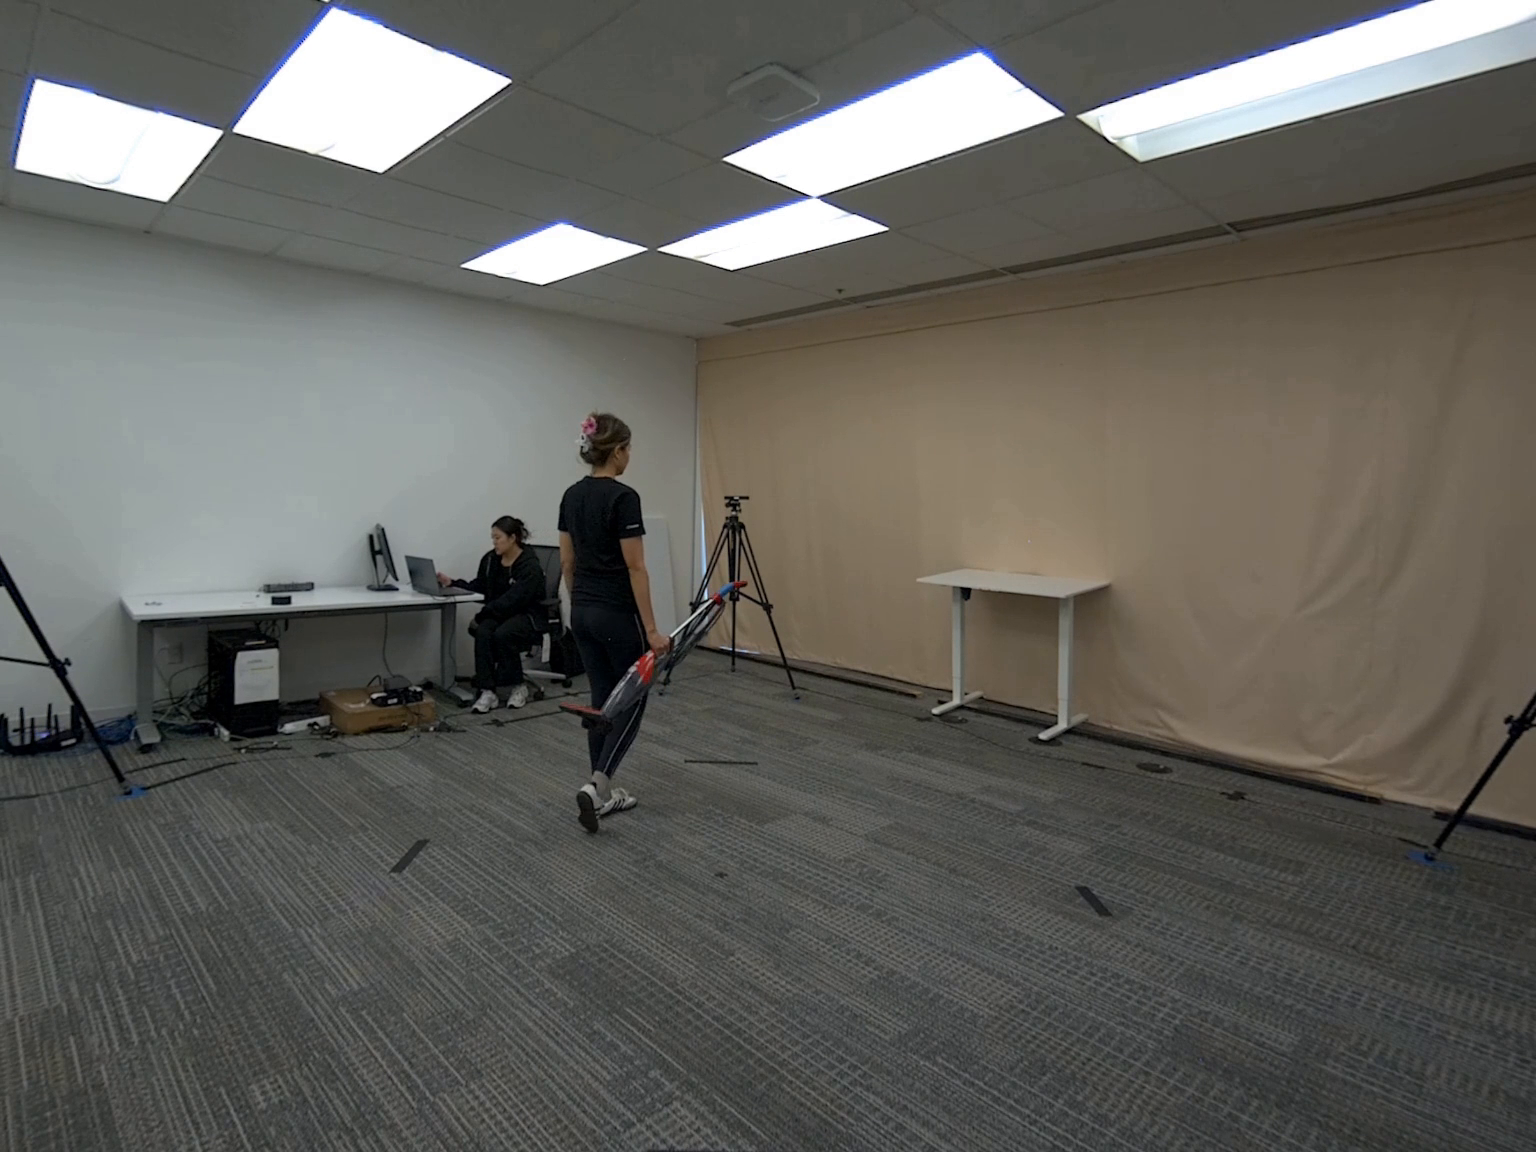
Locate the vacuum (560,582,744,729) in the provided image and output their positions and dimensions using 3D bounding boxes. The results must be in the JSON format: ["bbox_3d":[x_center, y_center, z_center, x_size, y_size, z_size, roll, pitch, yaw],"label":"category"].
[{"bbox_3d":[-0.398,0.295,3.545,0.259,0.141,1.046,2,32,39],"label":"vacuum"}]
